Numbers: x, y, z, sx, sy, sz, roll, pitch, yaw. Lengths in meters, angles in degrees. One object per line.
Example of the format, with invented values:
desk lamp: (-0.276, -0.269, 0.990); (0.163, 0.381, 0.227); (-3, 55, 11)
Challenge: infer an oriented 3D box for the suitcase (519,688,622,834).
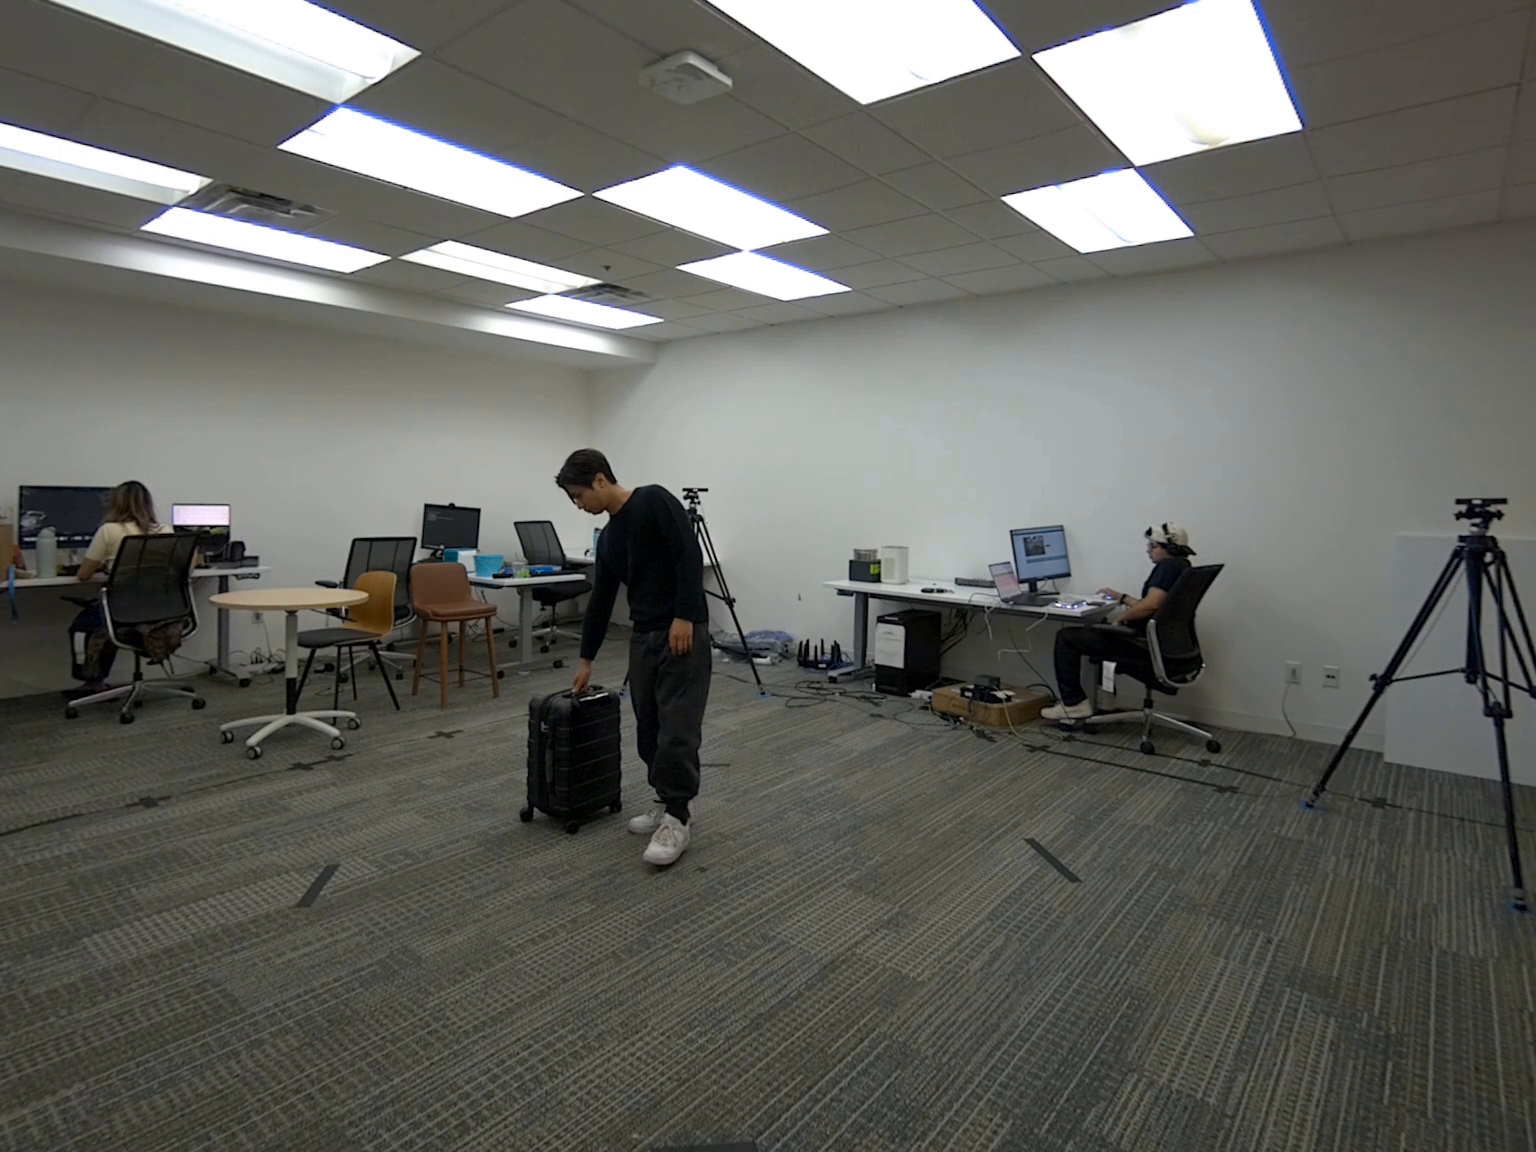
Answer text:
suitcase: (-0.829, 0.739, 3.583); (0.256, 0.547, 0.365); (3, 5, 36)
